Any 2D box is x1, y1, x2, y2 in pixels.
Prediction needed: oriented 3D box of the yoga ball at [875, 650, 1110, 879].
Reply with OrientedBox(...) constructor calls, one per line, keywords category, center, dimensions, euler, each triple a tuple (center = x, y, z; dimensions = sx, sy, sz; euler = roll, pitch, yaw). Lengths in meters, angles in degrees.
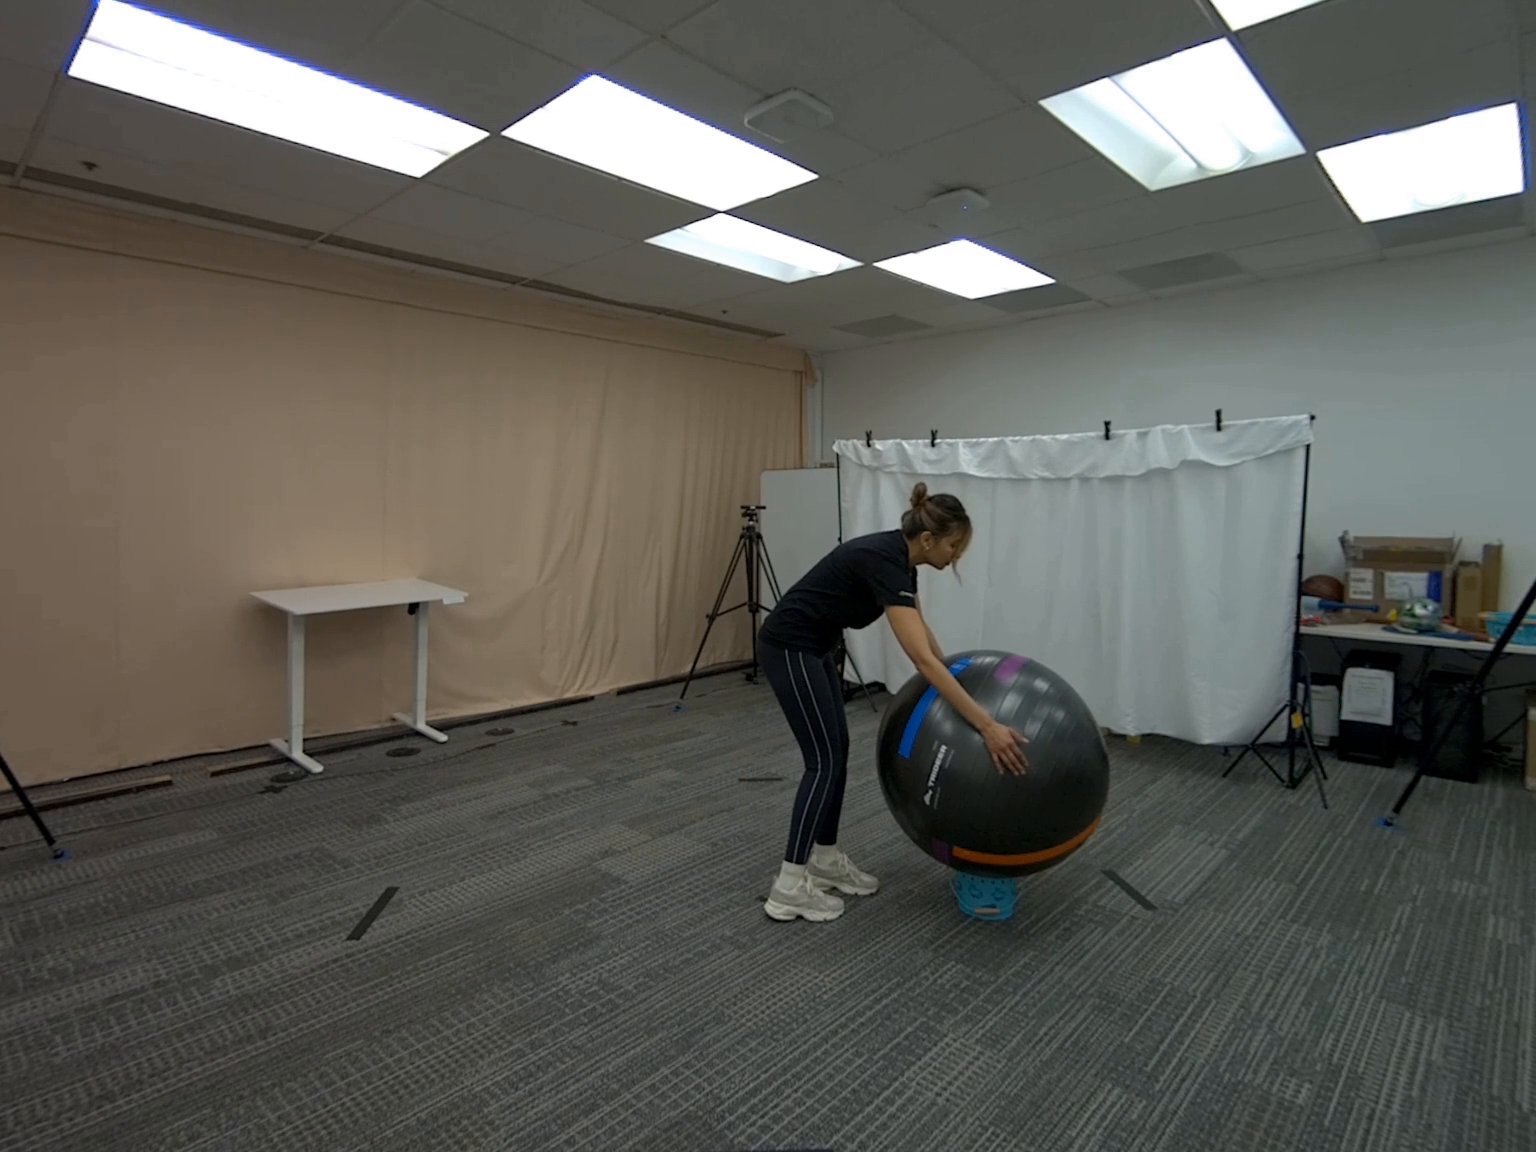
OrientedBox(category="yoga ball", center=(0.766, 0.638, 2.901), dimensions=(0.757, 0.756, 0.761), euler=(0, 4, -2))
